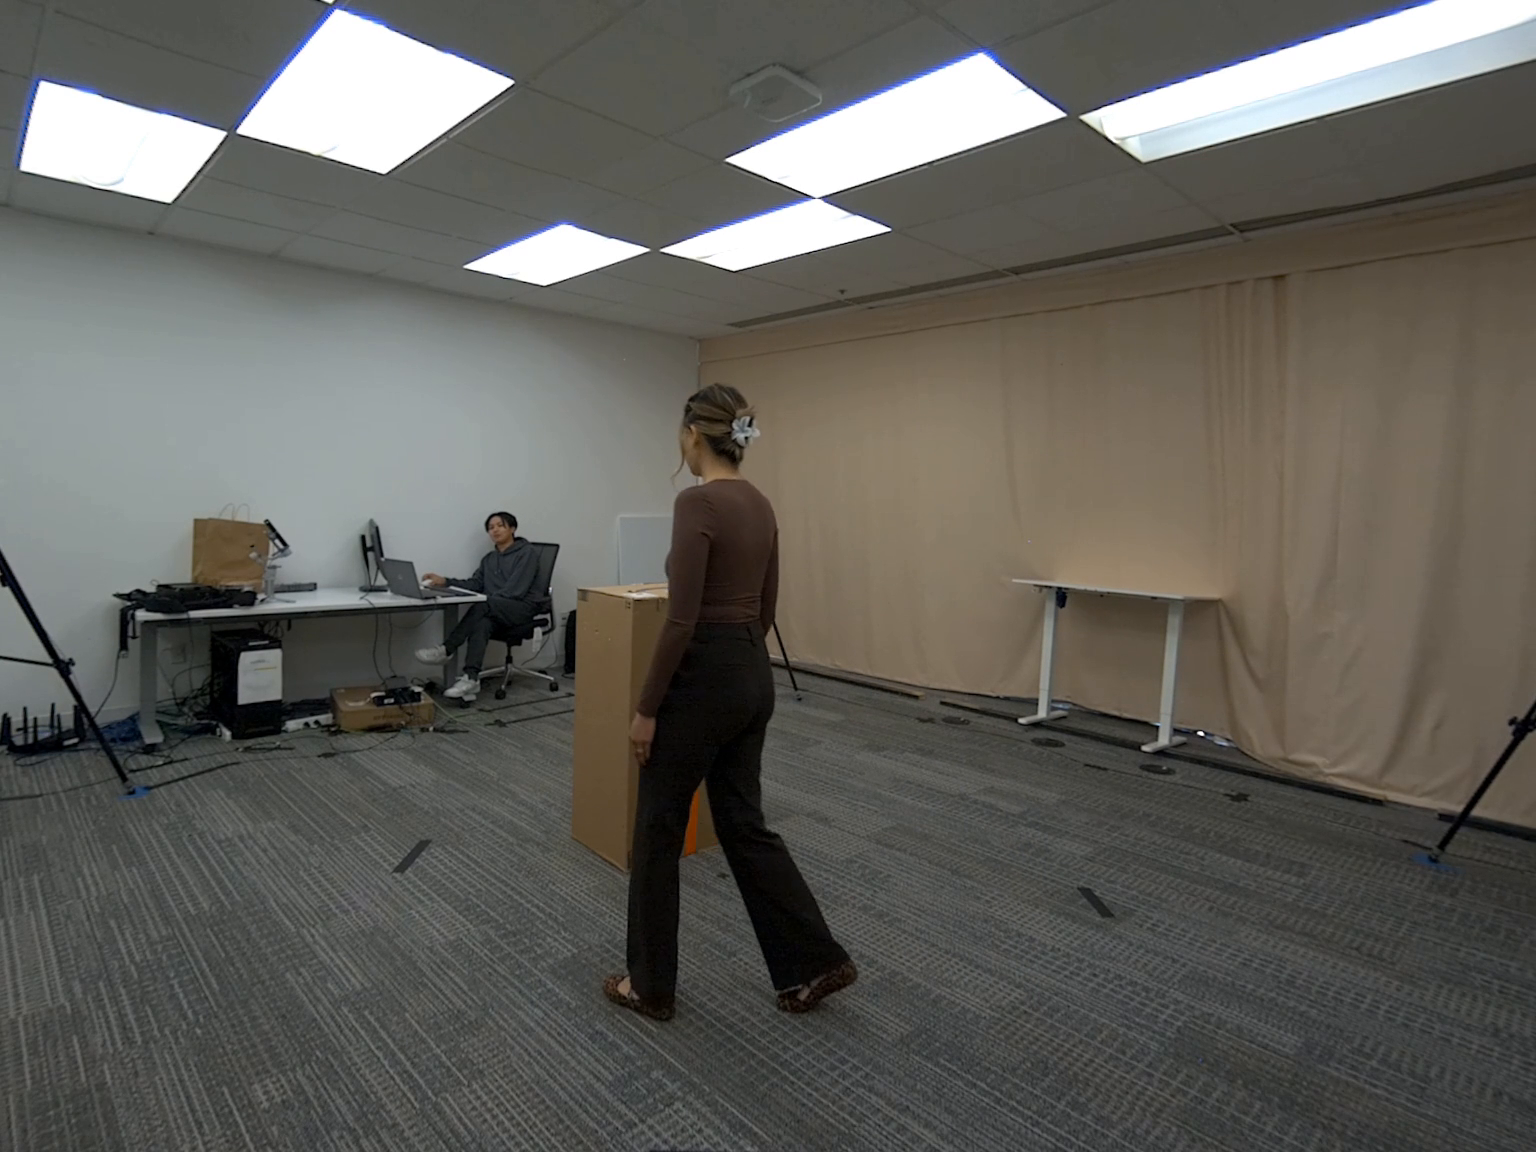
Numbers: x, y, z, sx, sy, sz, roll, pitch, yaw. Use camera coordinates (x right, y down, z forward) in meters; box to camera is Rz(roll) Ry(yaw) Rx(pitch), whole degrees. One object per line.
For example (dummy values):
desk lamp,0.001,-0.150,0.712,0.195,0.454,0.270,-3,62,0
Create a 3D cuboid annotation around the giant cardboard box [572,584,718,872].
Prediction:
giant cardboard box,-0.437,0.562,3.413,0.570,1.024,0.458,-1,5,-39
